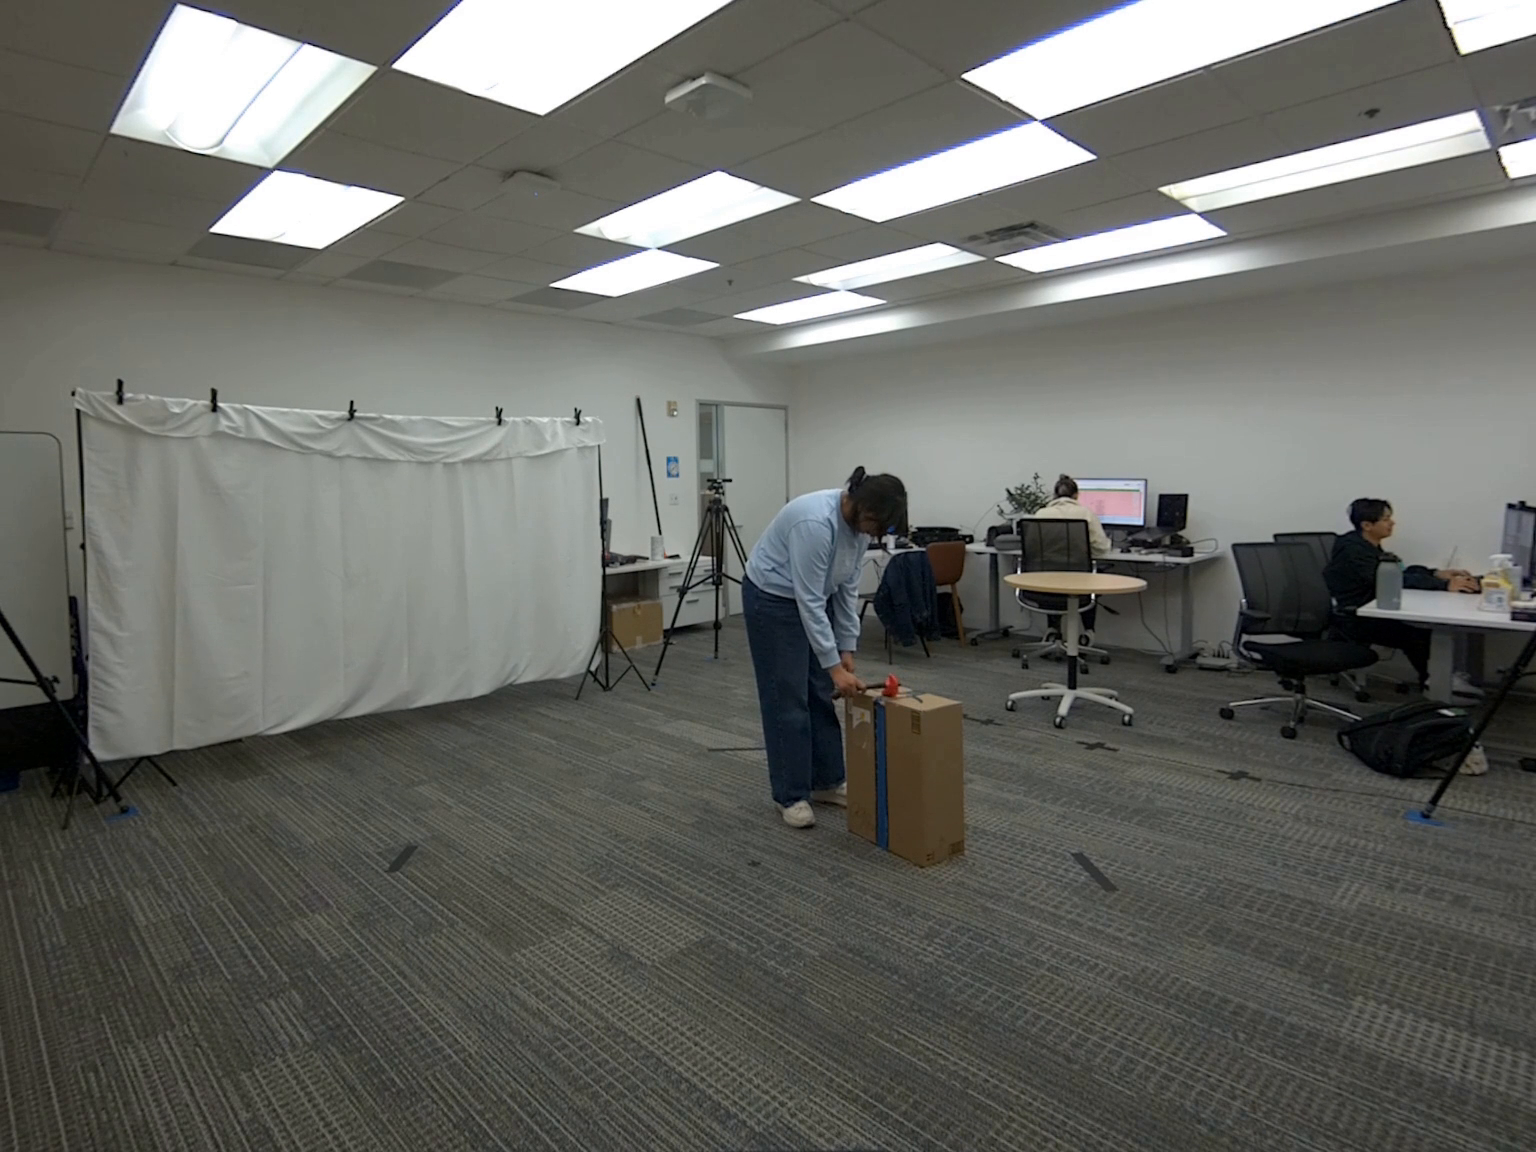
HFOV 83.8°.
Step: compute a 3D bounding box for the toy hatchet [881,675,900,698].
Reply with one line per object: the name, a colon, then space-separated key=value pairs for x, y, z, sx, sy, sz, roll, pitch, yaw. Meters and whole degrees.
toy hatchet: x=0.374 y=0.445 z=3.257 sx=0.273 sy=0.030 sz=0.126 roll=-22 pitch=-45 yaw=27
